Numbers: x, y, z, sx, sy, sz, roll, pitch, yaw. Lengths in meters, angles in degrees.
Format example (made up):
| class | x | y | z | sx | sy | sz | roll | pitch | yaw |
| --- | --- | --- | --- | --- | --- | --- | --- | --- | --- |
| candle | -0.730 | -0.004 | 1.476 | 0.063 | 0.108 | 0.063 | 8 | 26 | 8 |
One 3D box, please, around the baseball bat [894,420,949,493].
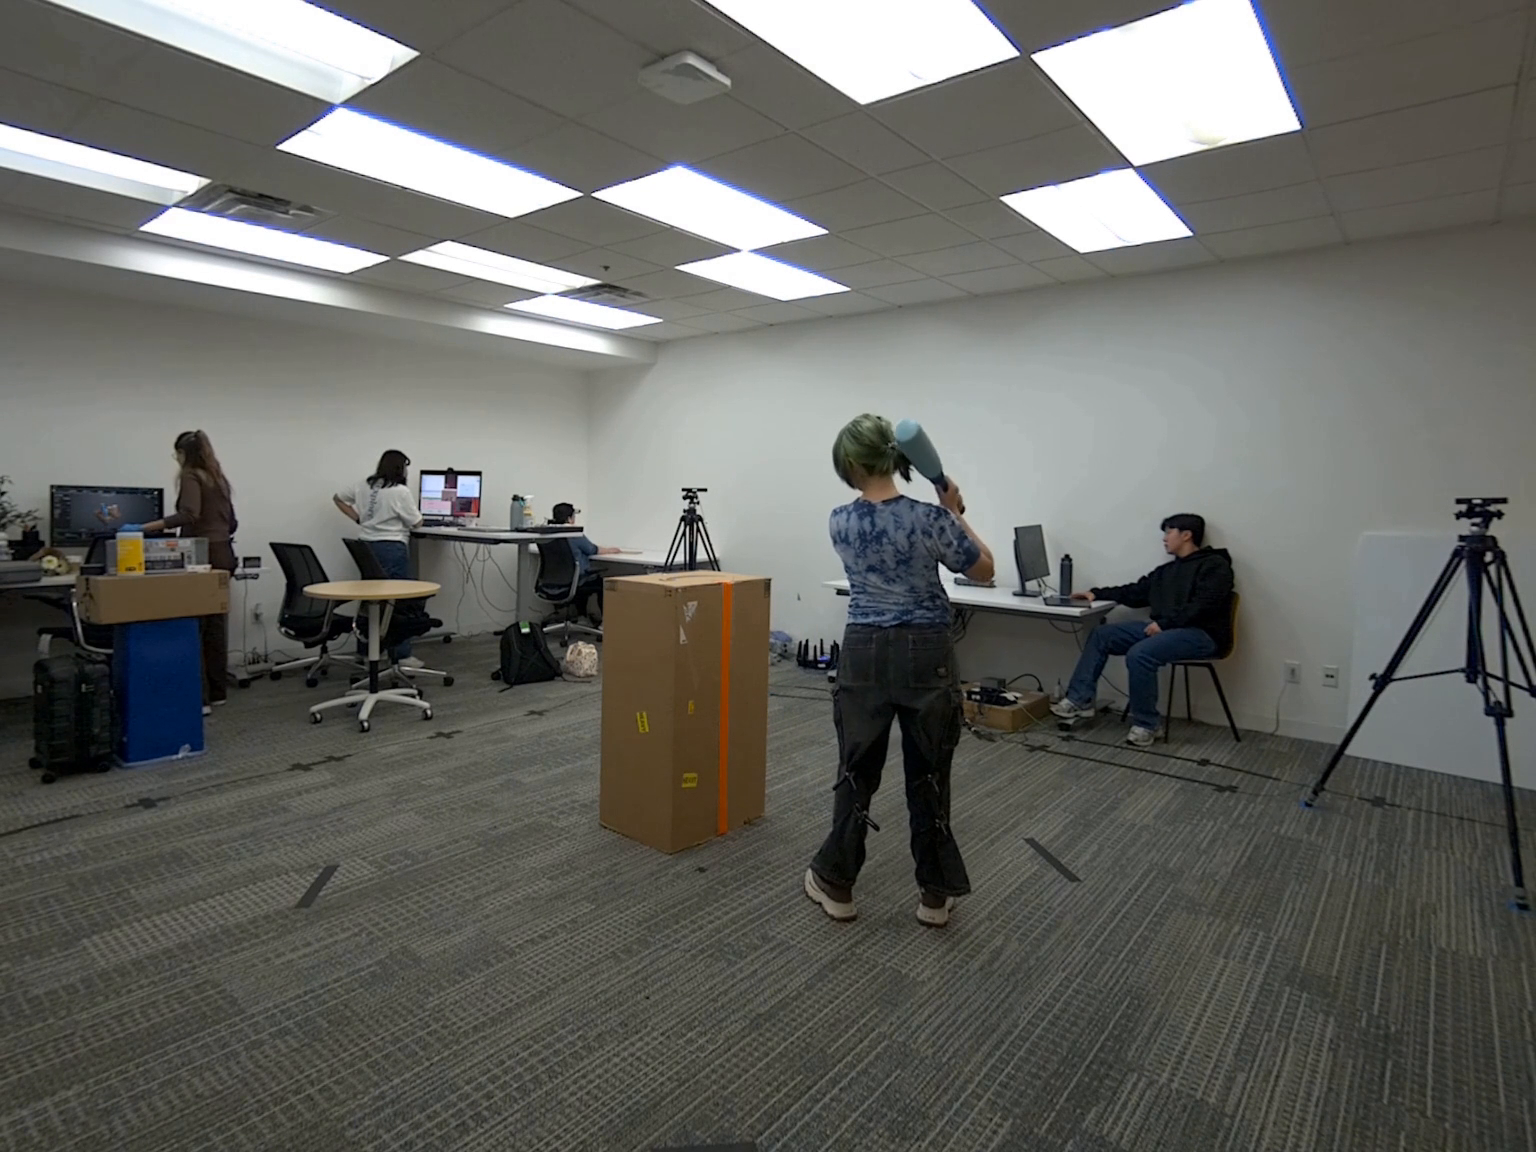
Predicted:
| class | x | y | z | sx | sy | sz | roll | pitch | yaw |
| --- | --- | --- | --- | --- | --- | --- | --- | --- | --- |
| baseball bat | 0.511 | -0.326 | 2.730 | 0.092 | 0.090 | 0.520 | 4 | -24 | 34 |
